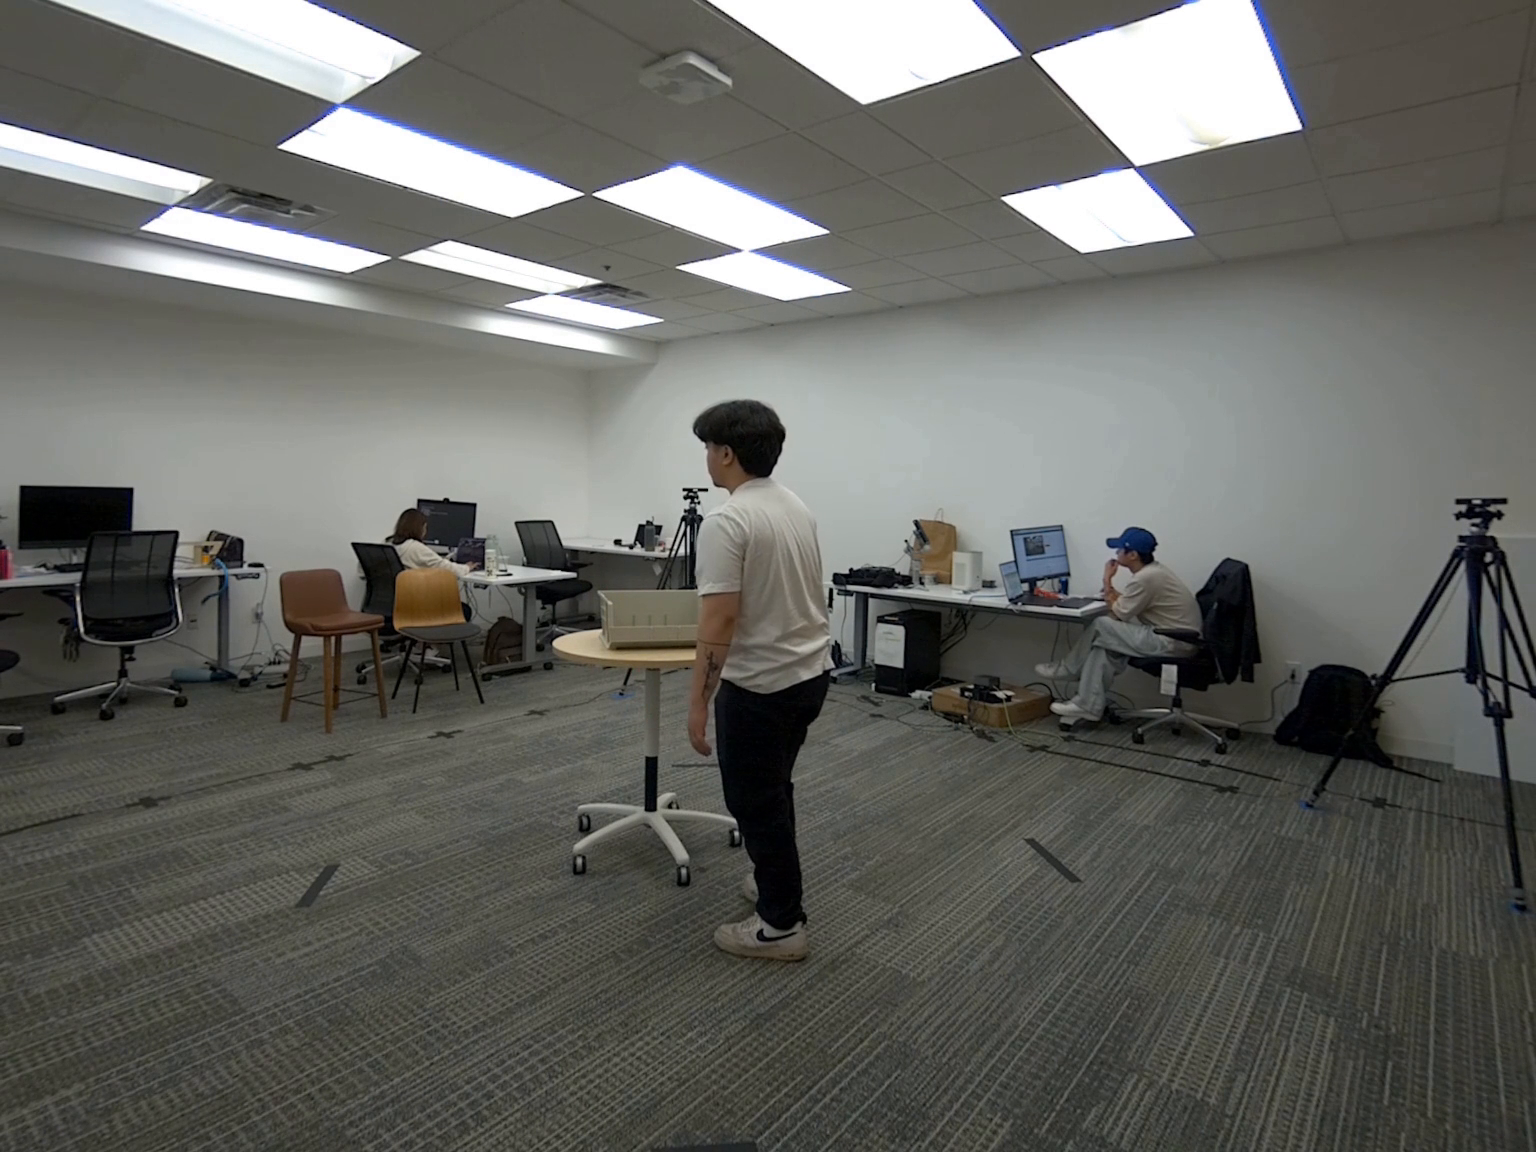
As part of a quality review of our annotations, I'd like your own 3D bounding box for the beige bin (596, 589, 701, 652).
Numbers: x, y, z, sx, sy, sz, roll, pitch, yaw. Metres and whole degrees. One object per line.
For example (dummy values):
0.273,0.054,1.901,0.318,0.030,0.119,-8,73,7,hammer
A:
-0.434,0.161,3.262,0.416,0.189,0.384,0,3,-16,beige bin
